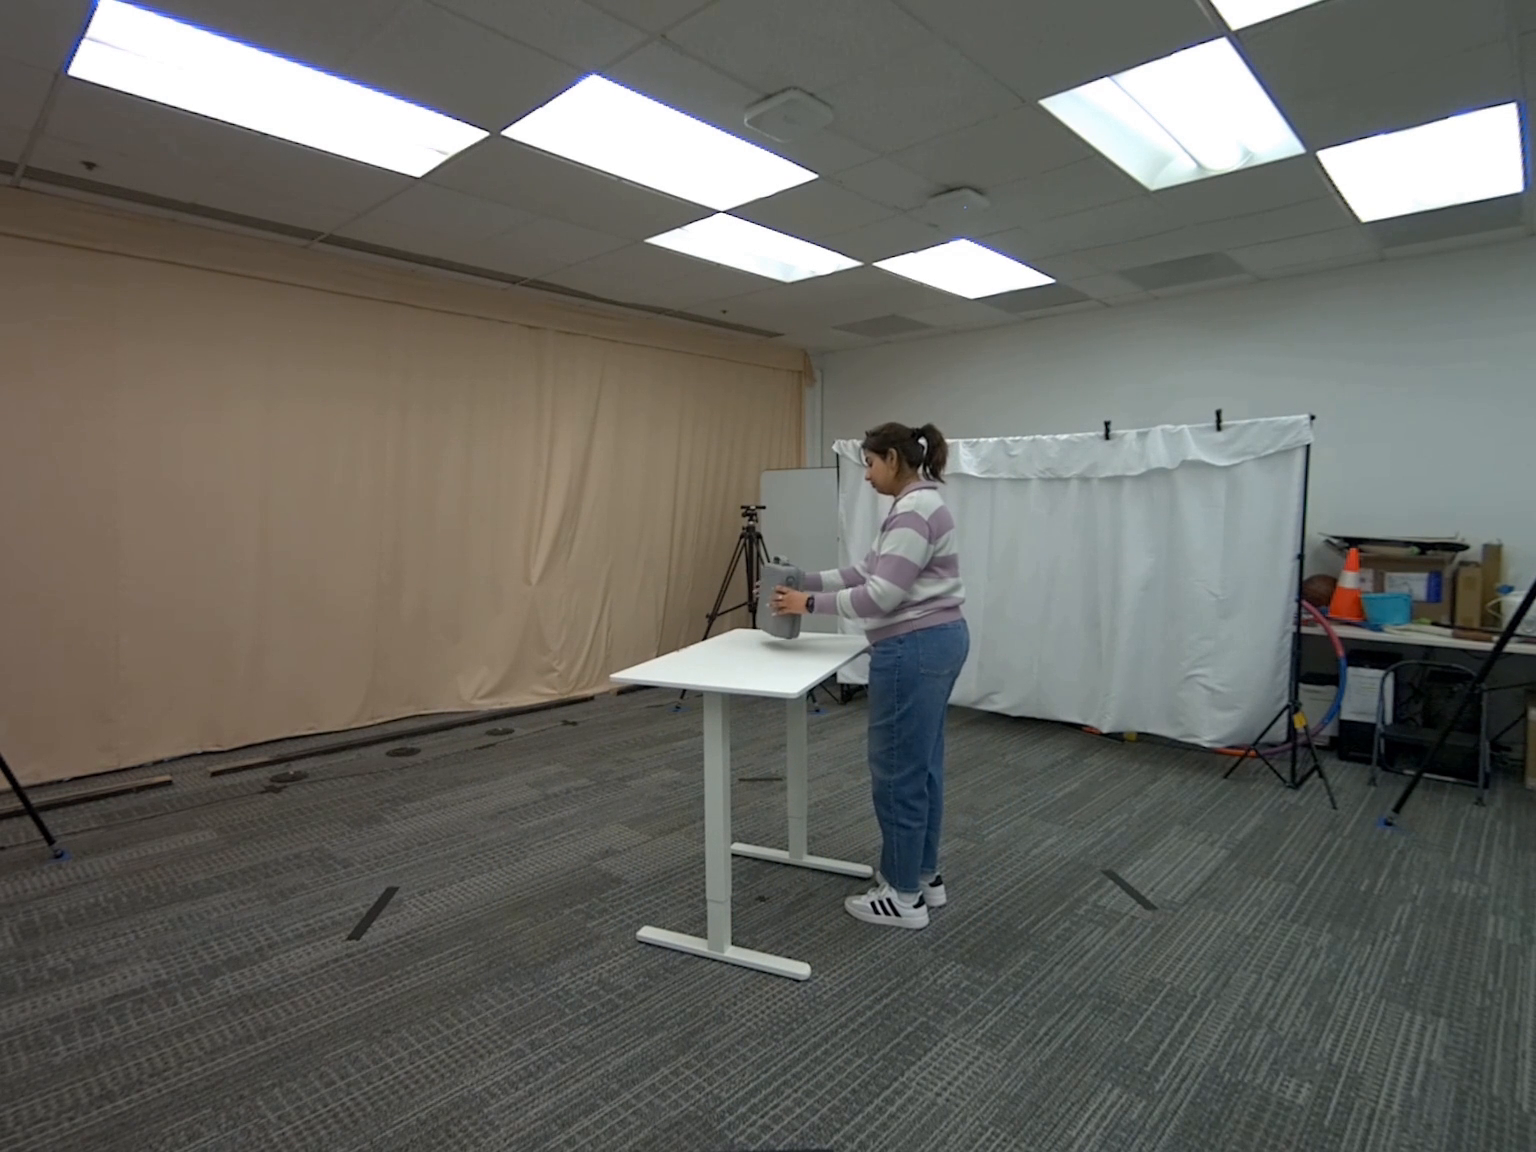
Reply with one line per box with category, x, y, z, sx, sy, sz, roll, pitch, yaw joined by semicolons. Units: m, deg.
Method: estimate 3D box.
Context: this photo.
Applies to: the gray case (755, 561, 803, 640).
gray case;0.050;0.083;3.028;0.103;0.260;0.260;2;3;-12
